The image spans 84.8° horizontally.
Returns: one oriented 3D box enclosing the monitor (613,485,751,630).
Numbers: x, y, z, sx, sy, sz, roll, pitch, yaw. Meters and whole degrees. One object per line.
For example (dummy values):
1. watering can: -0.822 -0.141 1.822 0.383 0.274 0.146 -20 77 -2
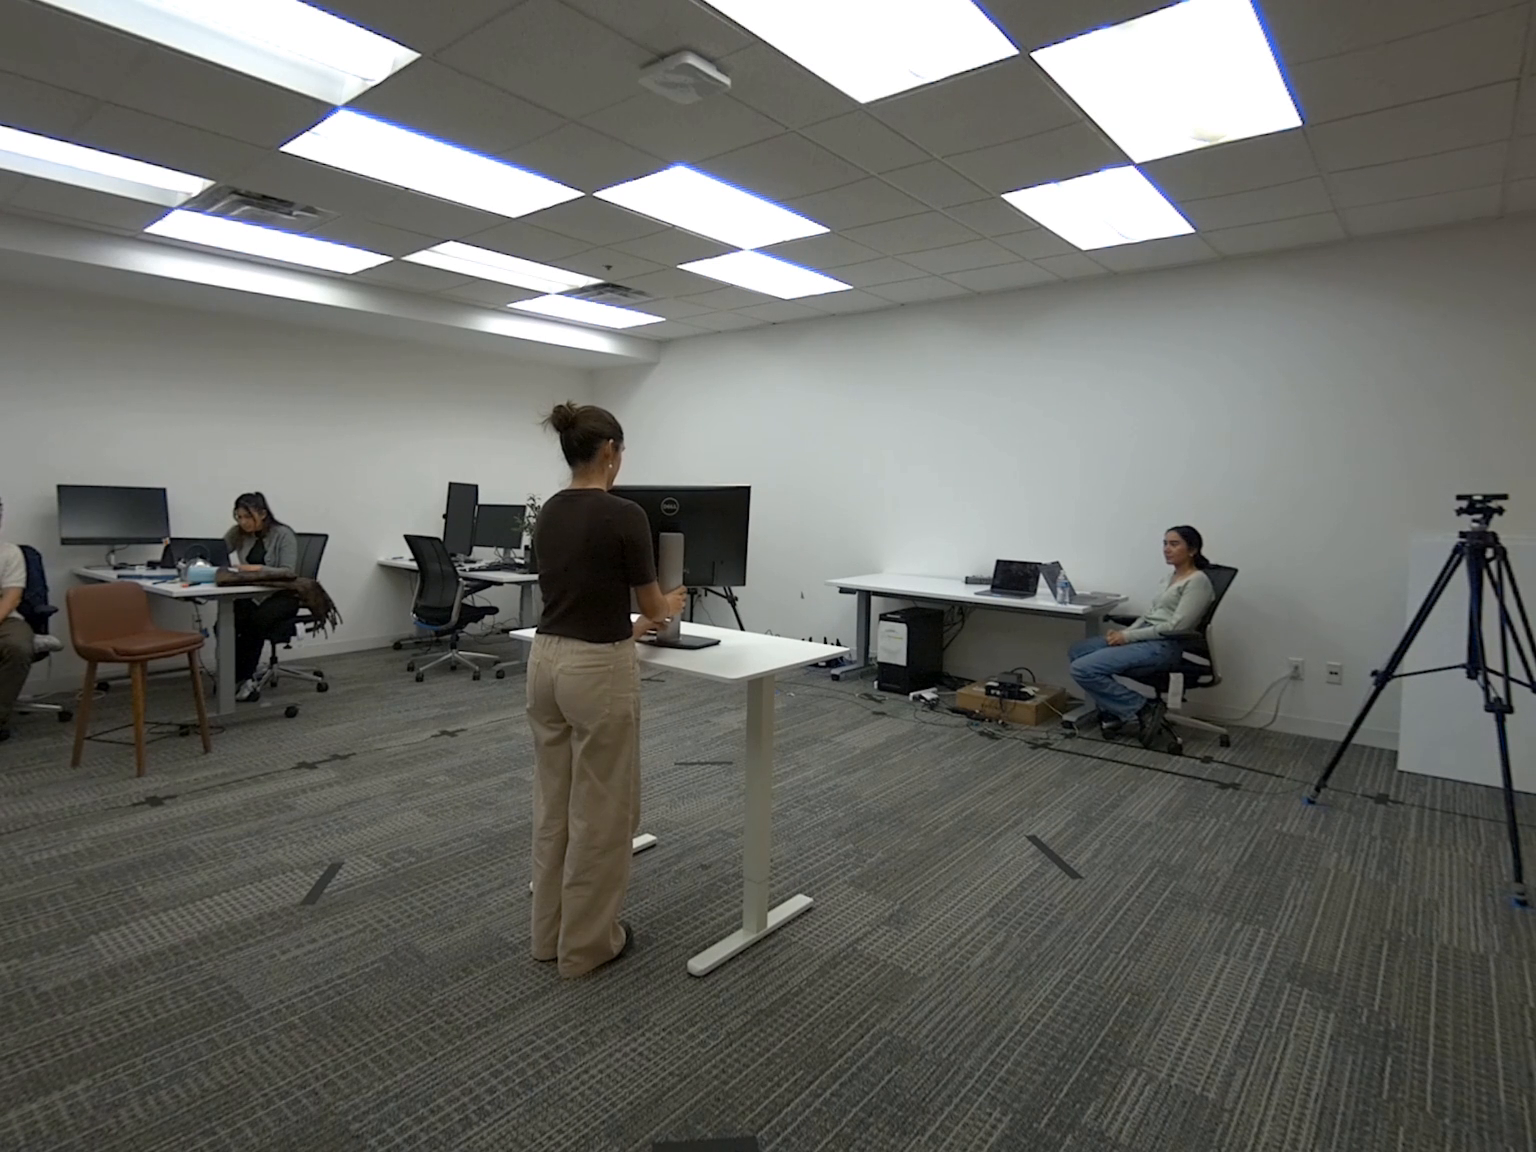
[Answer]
1. monitor: -0.332 -0.037 2.770 0.533 0.518 0.190 -3 8 -11
